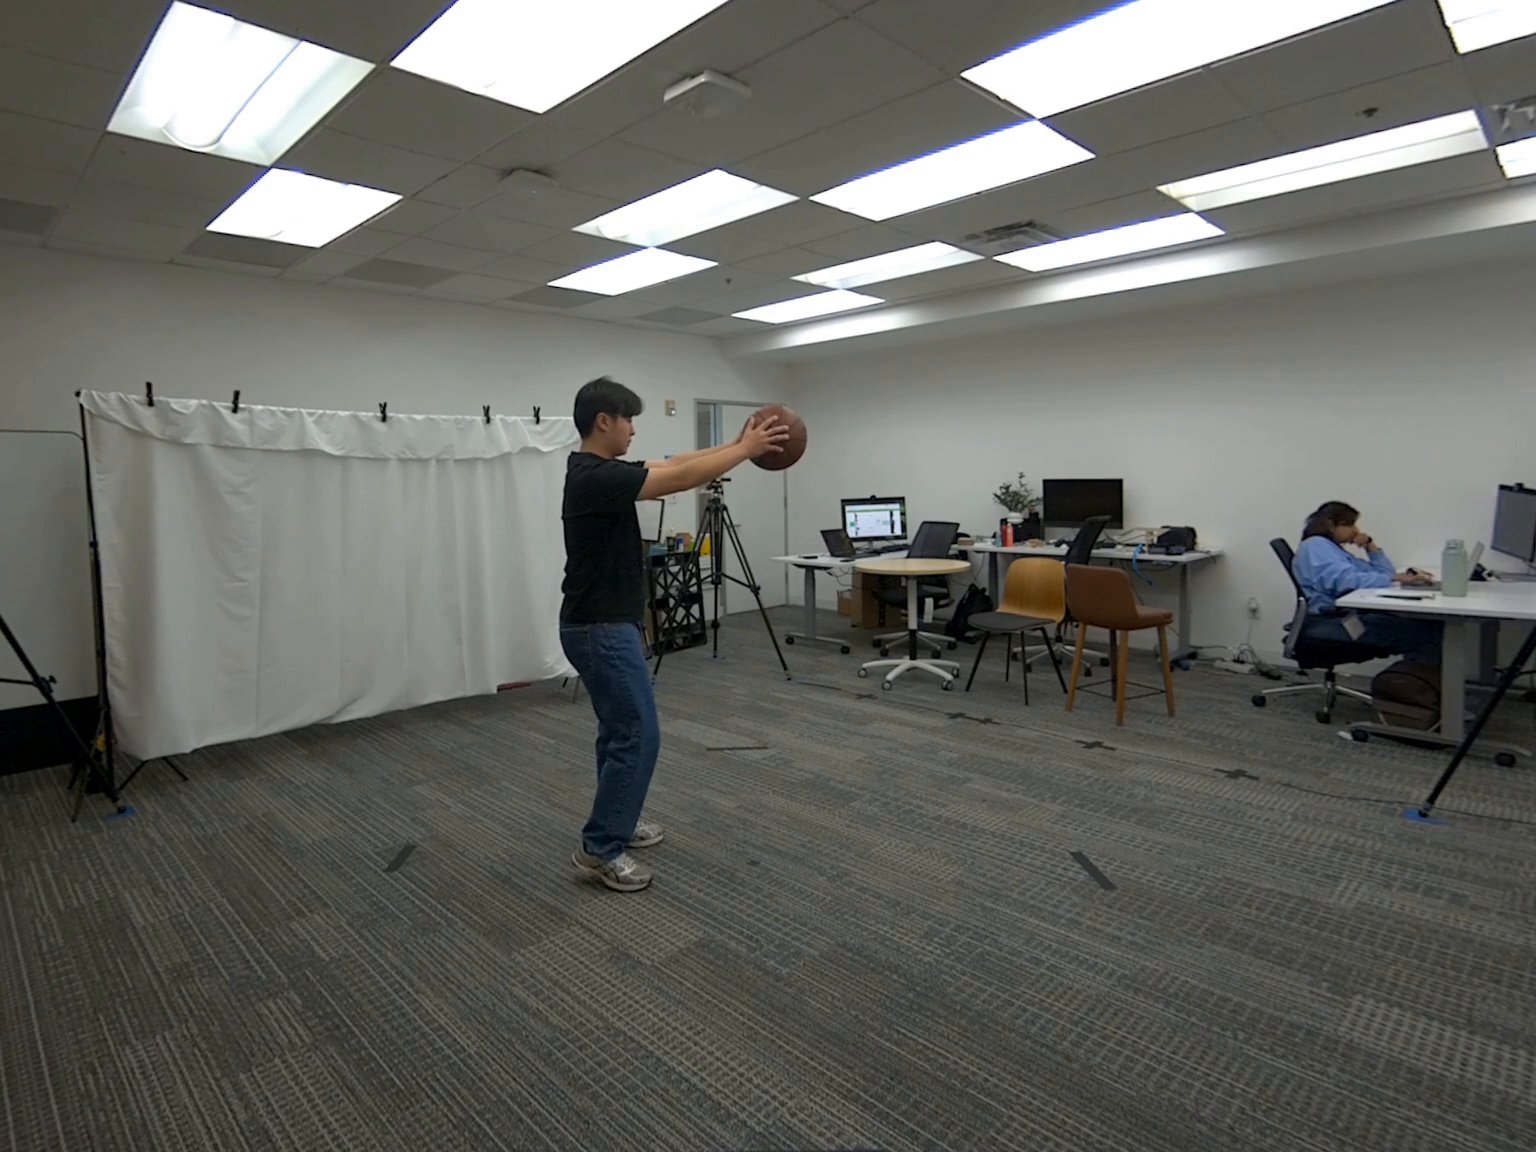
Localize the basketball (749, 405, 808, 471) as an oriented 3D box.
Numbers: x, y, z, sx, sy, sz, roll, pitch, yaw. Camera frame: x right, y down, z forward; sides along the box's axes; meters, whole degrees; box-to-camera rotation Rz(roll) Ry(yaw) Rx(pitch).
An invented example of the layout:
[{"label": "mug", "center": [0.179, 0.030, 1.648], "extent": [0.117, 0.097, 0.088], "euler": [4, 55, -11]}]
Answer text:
[{"label": "basketball", "center": [0.022, -0.496, 3.100], "extent": [0.236, 0.235, 0.237], "euler": [-1, 5, -2]}]
